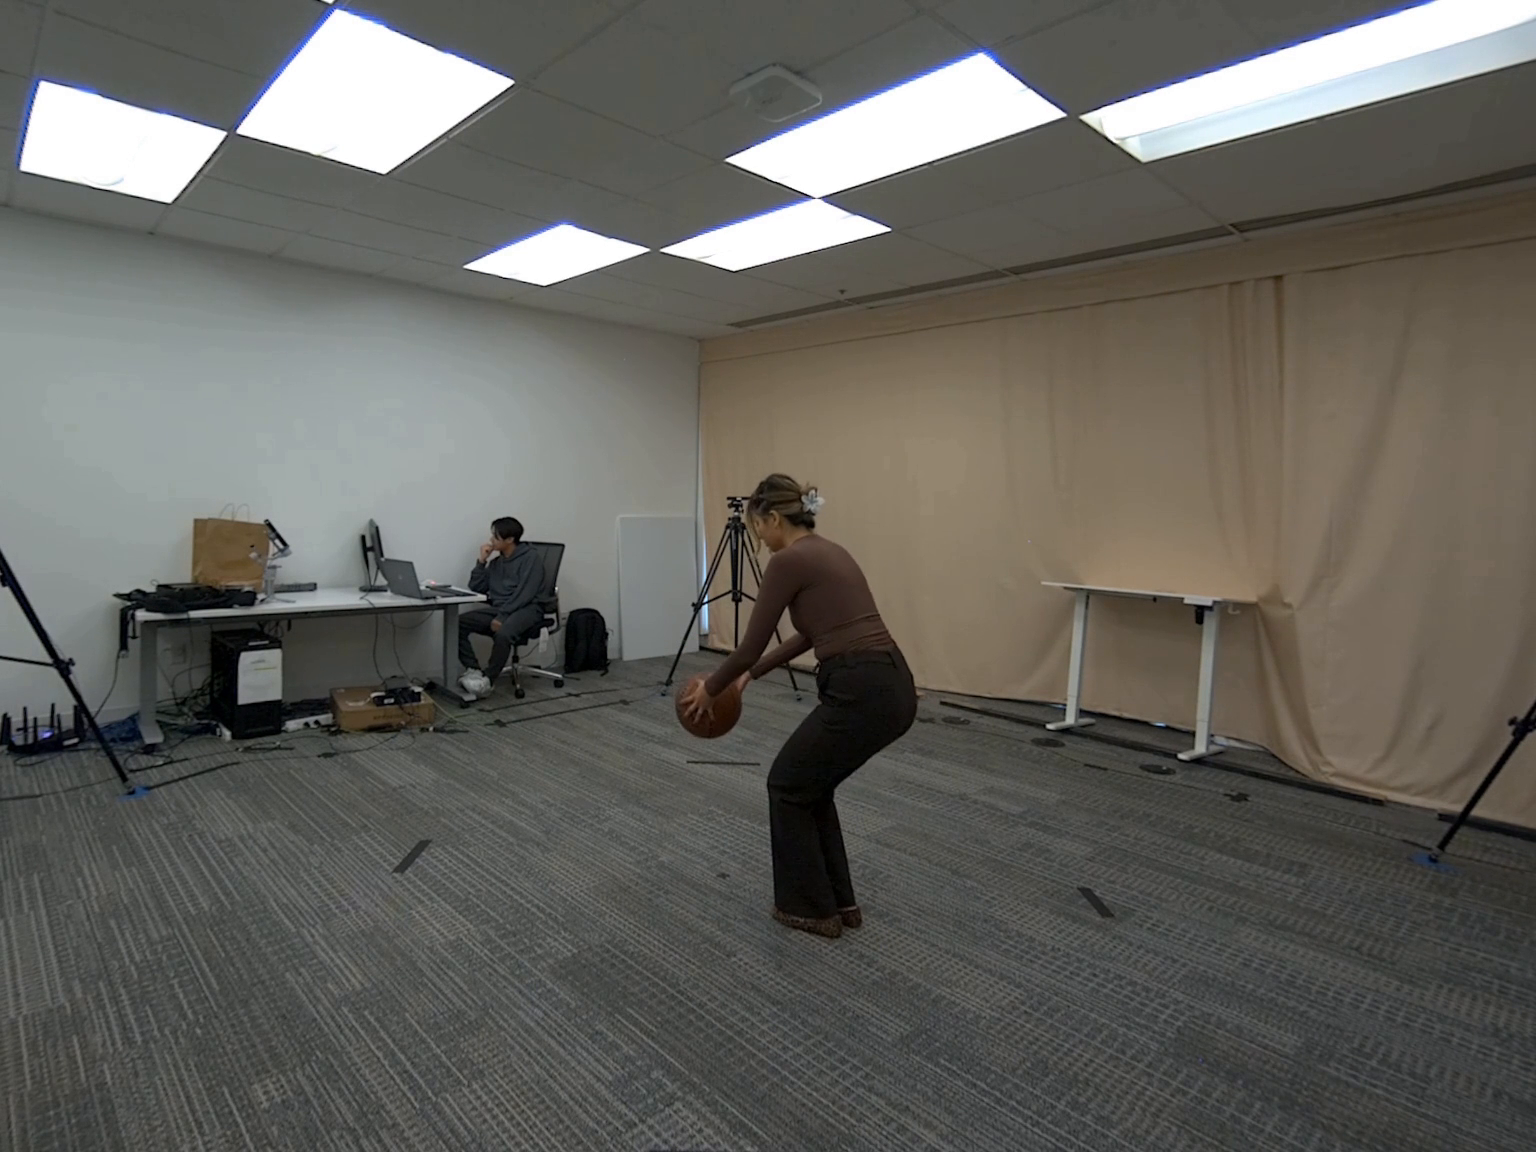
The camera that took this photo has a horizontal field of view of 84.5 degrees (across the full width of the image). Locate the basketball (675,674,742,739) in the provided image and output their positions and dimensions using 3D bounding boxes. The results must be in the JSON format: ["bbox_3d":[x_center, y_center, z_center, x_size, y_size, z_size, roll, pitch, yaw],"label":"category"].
[{"bbox_3d":[-0.218,0.458,2.999,0.236,0.235,0.237,1,4,-1],"label":"basketball"}]
